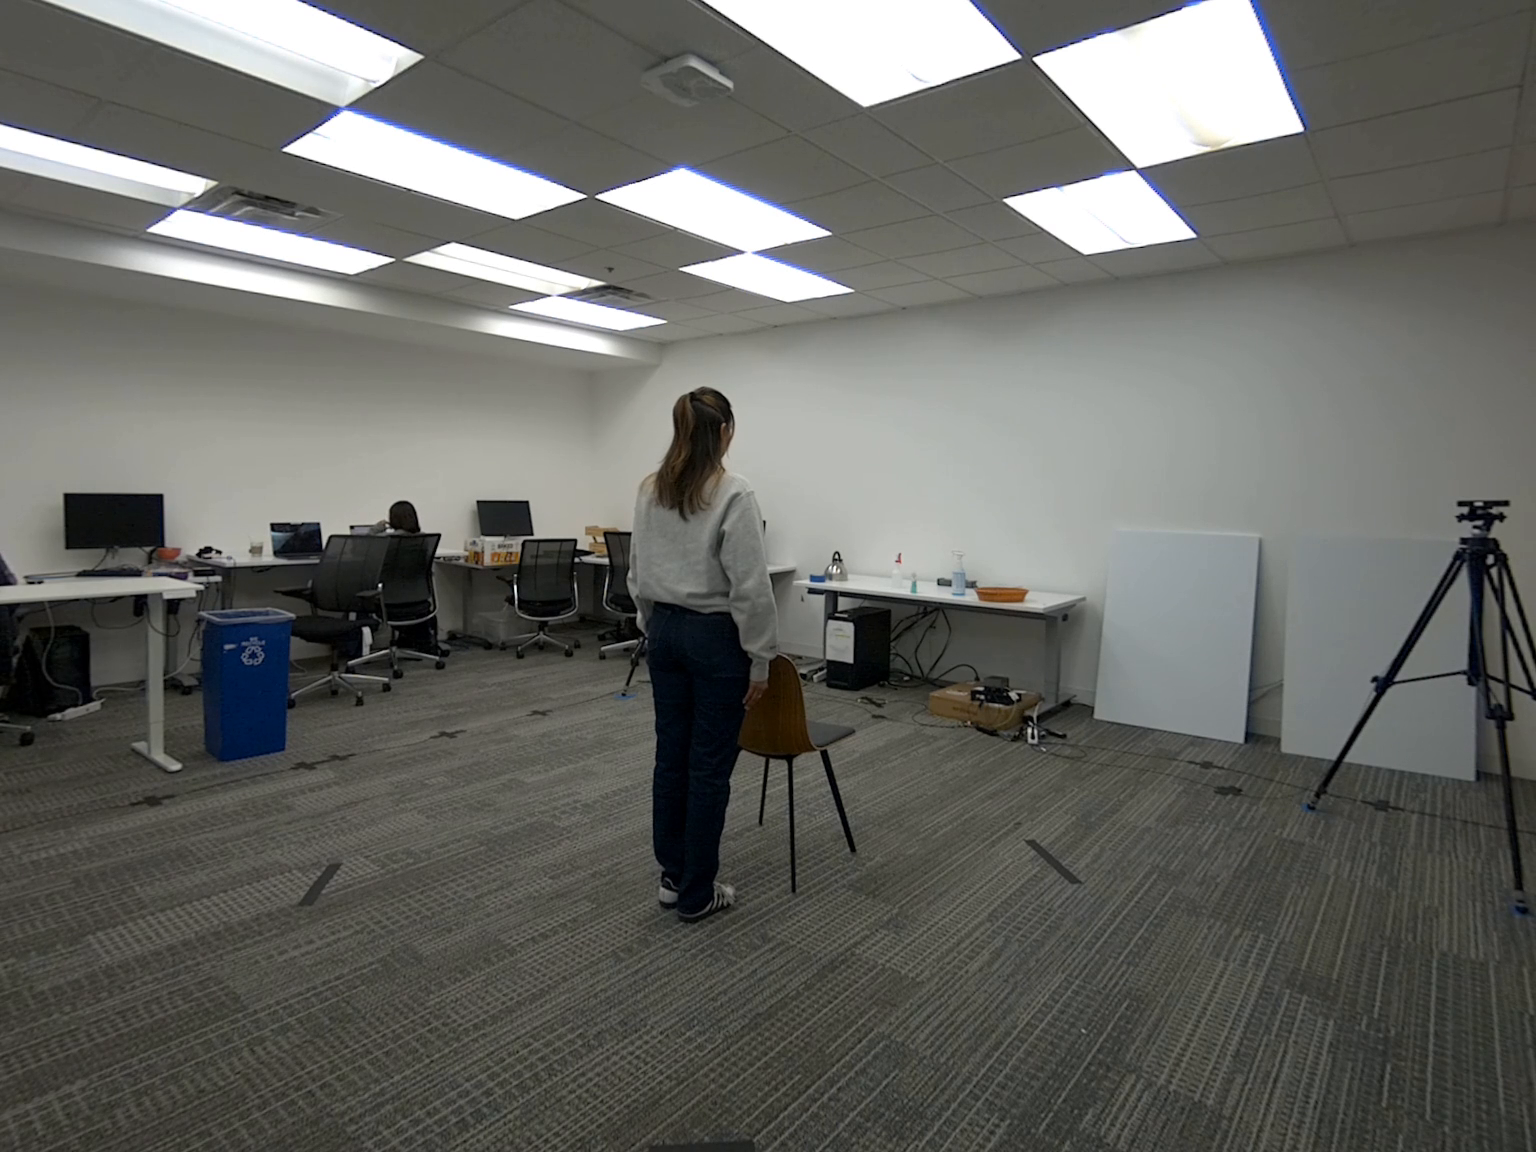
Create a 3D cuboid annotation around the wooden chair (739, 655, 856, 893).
[{"bbox_3d":[0.032,0.639,3.239,0.493,0.872,0.510,3,8,35],"label":"wooden chair"}]
